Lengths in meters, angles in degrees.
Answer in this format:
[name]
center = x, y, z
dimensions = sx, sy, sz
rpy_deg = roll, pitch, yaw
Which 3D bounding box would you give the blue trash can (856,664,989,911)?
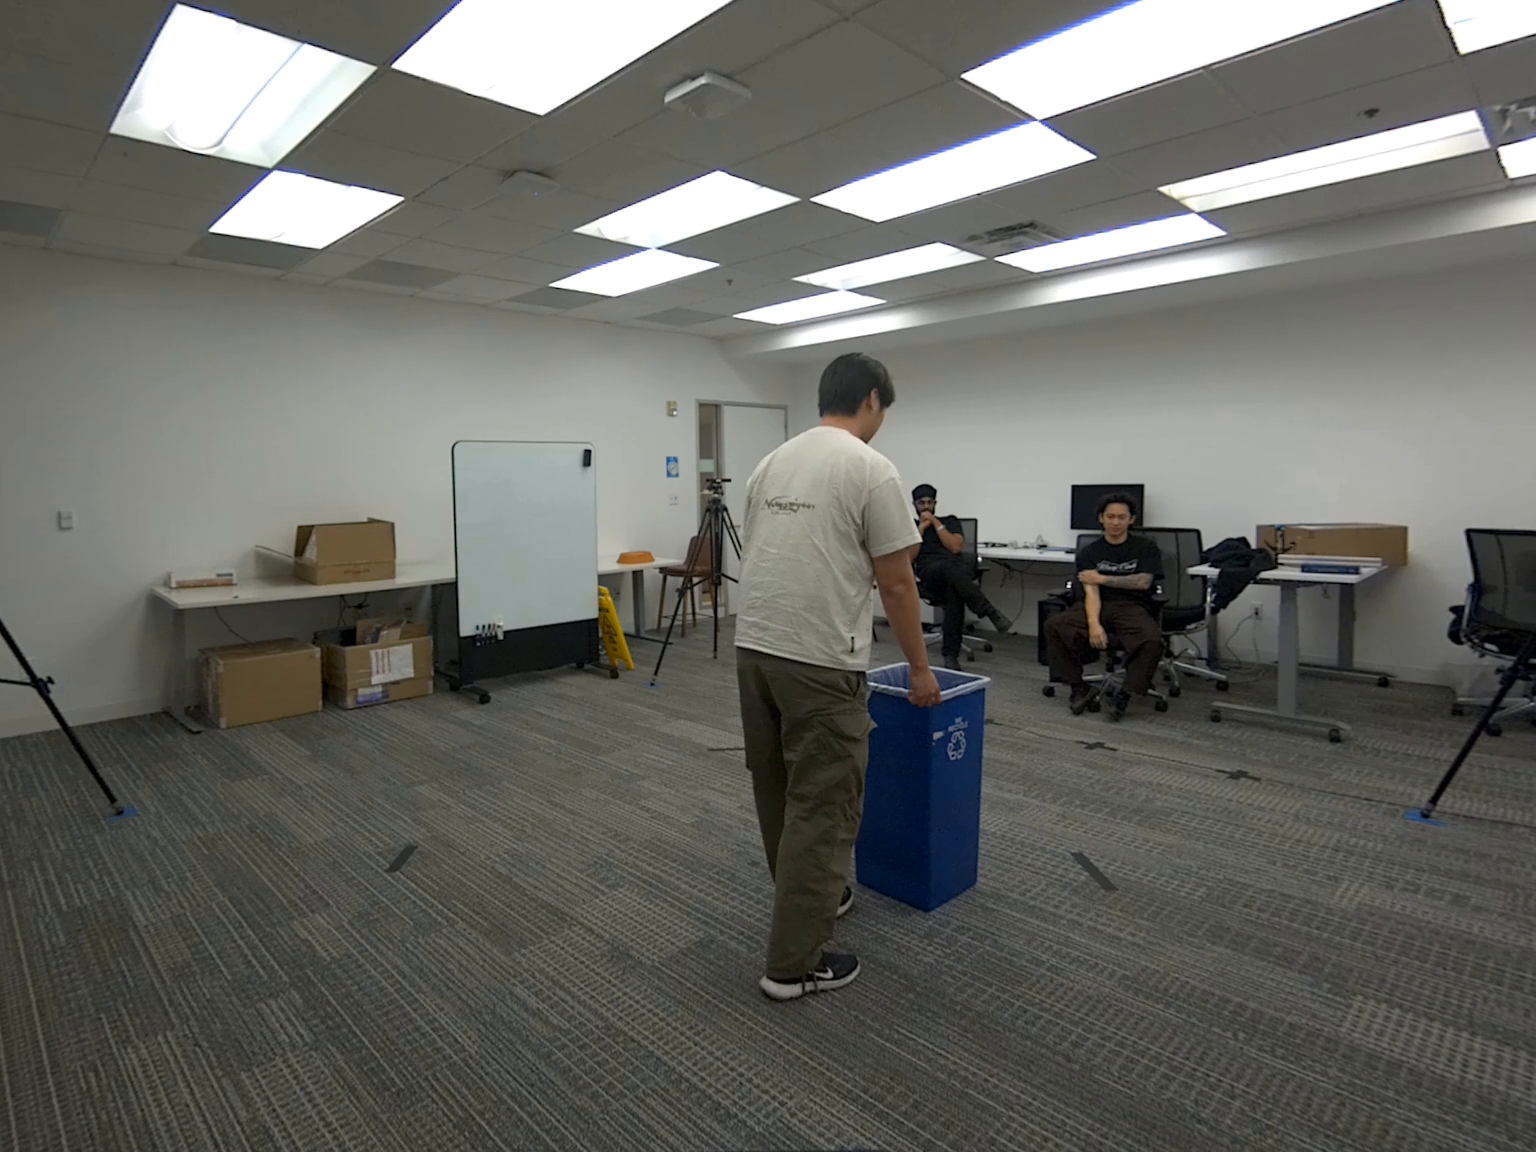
[blue trash can]
center = 0.513, 0.699, 2.924
dimensions = 0.364, 0.711, 0.390
rpy_deg = -5, 6, -44
